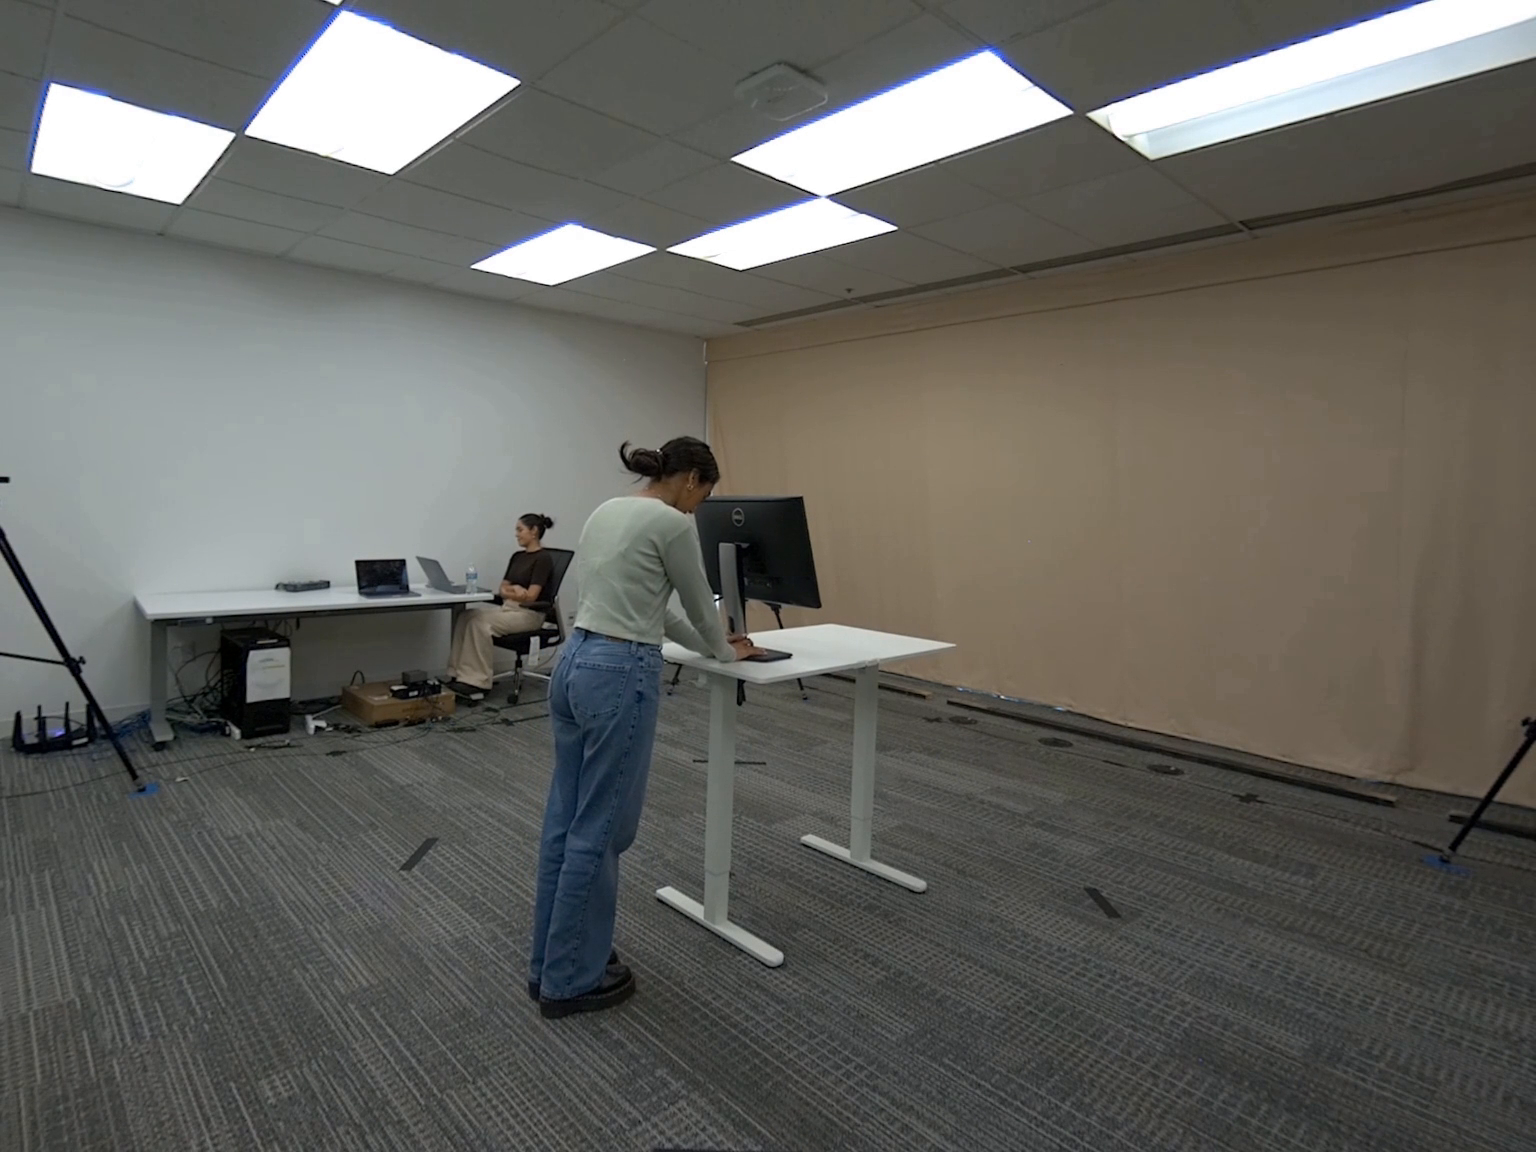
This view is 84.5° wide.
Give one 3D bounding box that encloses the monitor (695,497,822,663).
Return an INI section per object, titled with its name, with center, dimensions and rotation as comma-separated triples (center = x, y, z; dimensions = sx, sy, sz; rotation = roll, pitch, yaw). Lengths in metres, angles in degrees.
[monitor]
center = -0.079, 0.003, 2.707
dimensions = 0.183, 0.521, 0.553
rotation = -3, 5, -42
